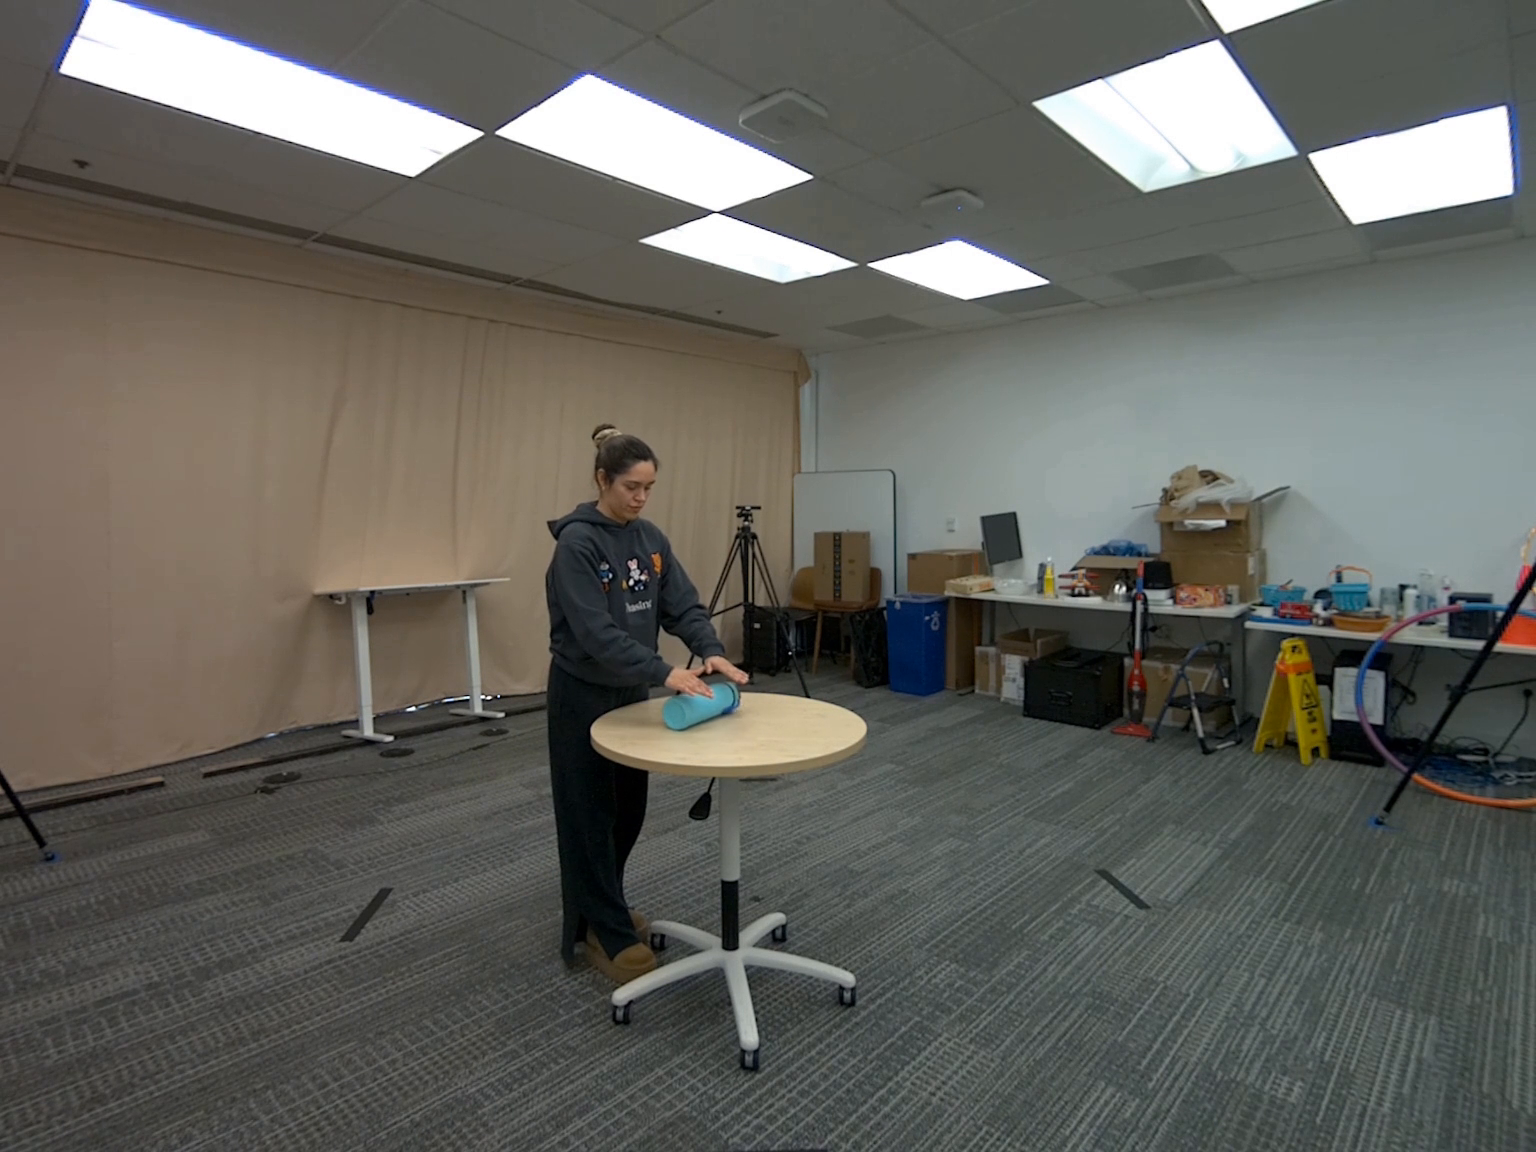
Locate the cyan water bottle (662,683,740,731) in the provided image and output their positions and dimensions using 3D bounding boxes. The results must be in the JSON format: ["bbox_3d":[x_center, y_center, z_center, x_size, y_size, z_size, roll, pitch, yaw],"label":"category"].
[{"bbox_3d":[-0.171,0.365,2.398,0.095,0.092,0.275,2,6,34],"label":"cyan water bottle"}]
